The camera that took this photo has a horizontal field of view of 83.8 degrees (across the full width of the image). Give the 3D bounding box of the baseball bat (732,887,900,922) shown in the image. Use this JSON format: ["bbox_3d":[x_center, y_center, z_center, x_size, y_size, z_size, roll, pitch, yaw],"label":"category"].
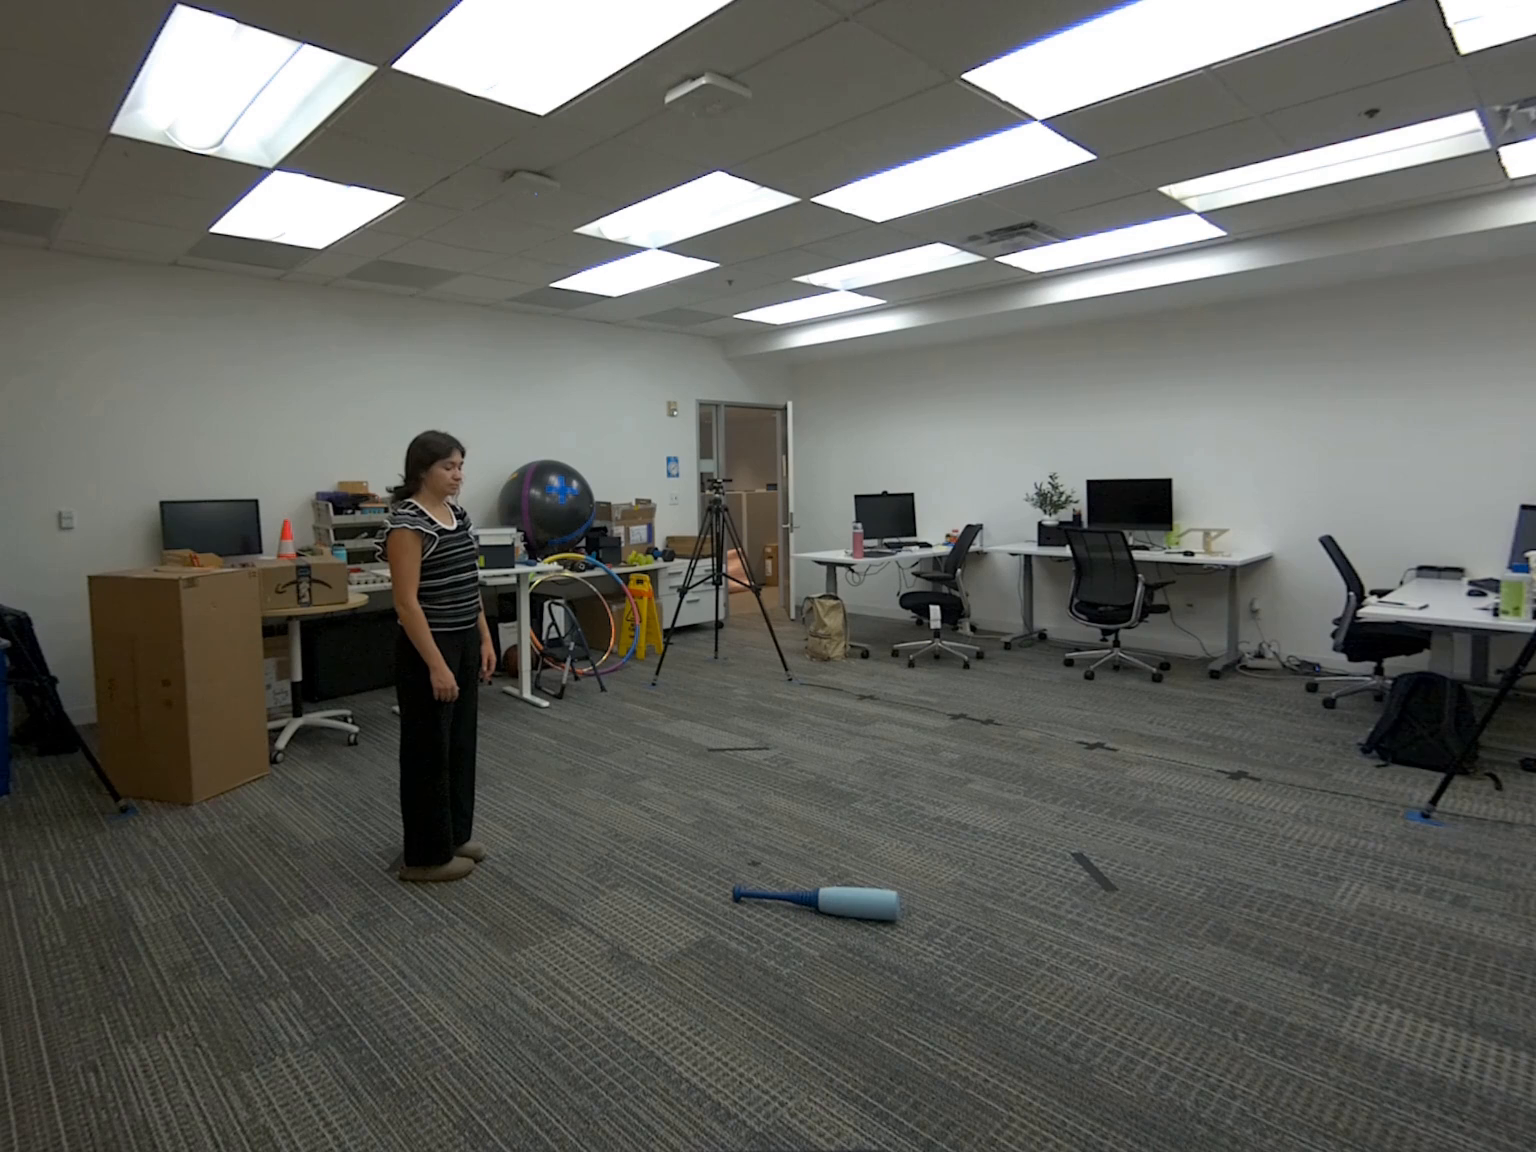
[{"bbox_3d":[0.149,1.040,2.758,0.551,0.089,0.088,-2,4,17],"label":"baseball bat"}]
